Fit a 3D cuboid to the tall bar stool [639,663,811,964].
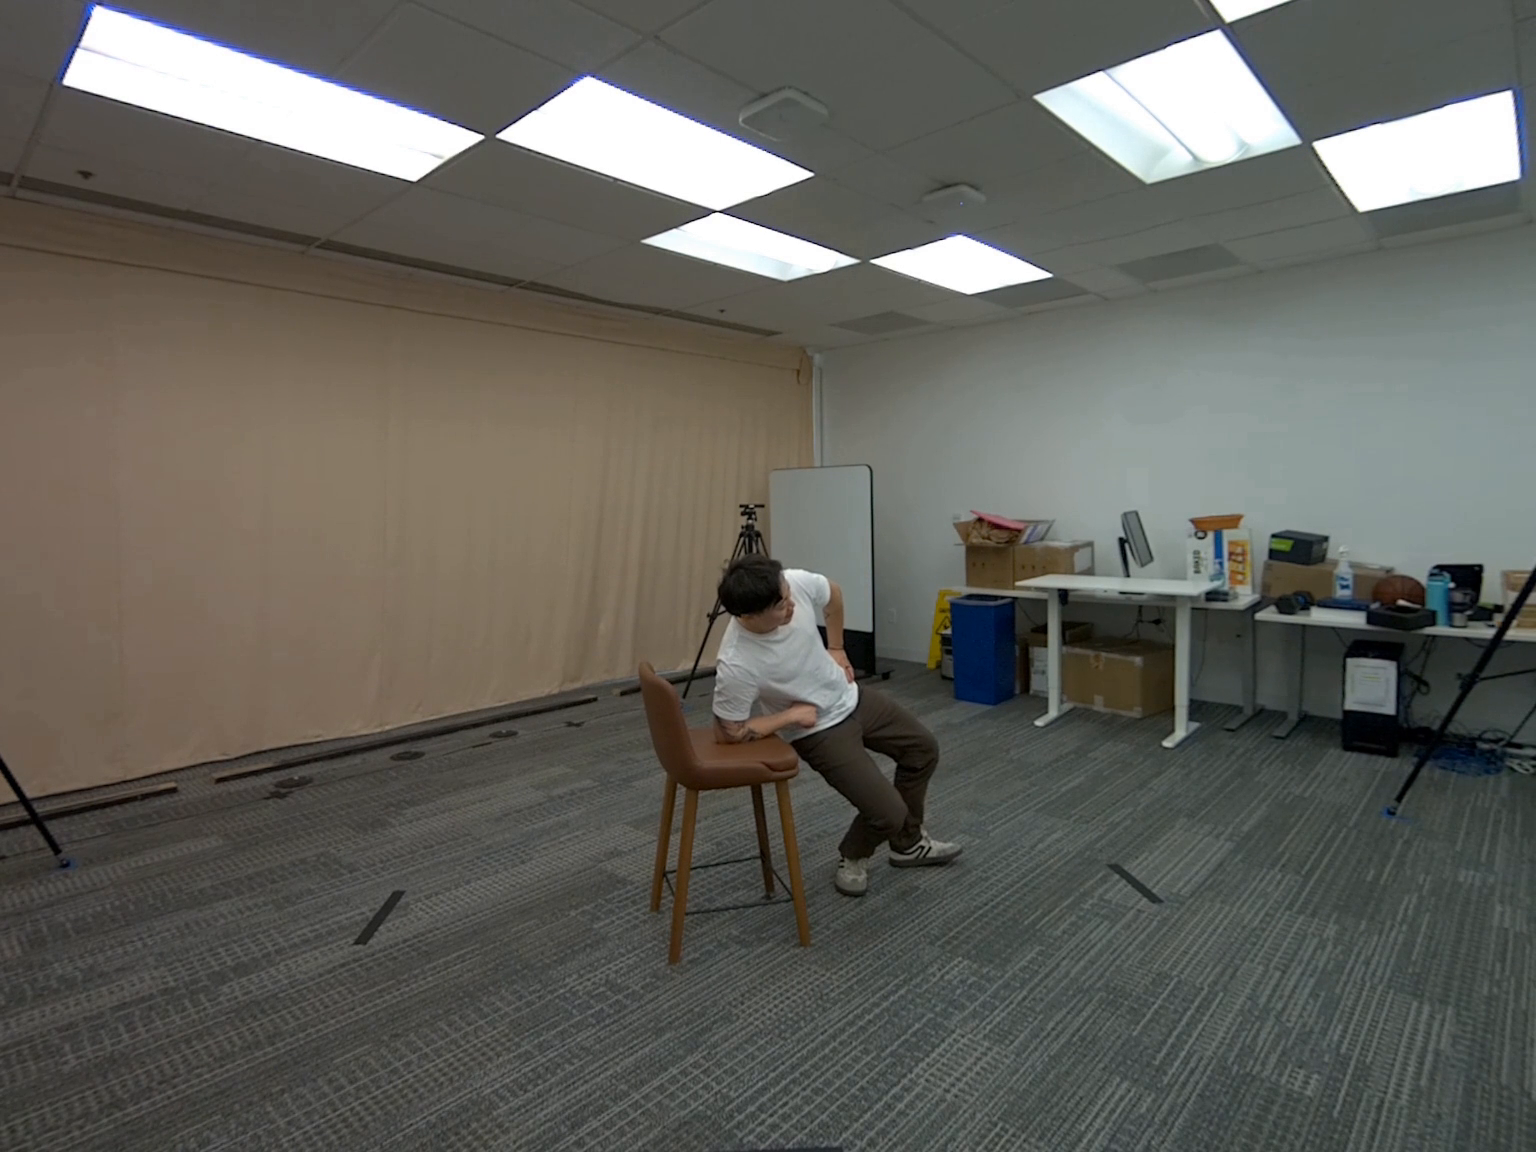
[{"bbox_3d":[-0.148,0.727,2.764,0.460,0.888,0.465,-3,3,-16],"label":"tall bar stool"}]
